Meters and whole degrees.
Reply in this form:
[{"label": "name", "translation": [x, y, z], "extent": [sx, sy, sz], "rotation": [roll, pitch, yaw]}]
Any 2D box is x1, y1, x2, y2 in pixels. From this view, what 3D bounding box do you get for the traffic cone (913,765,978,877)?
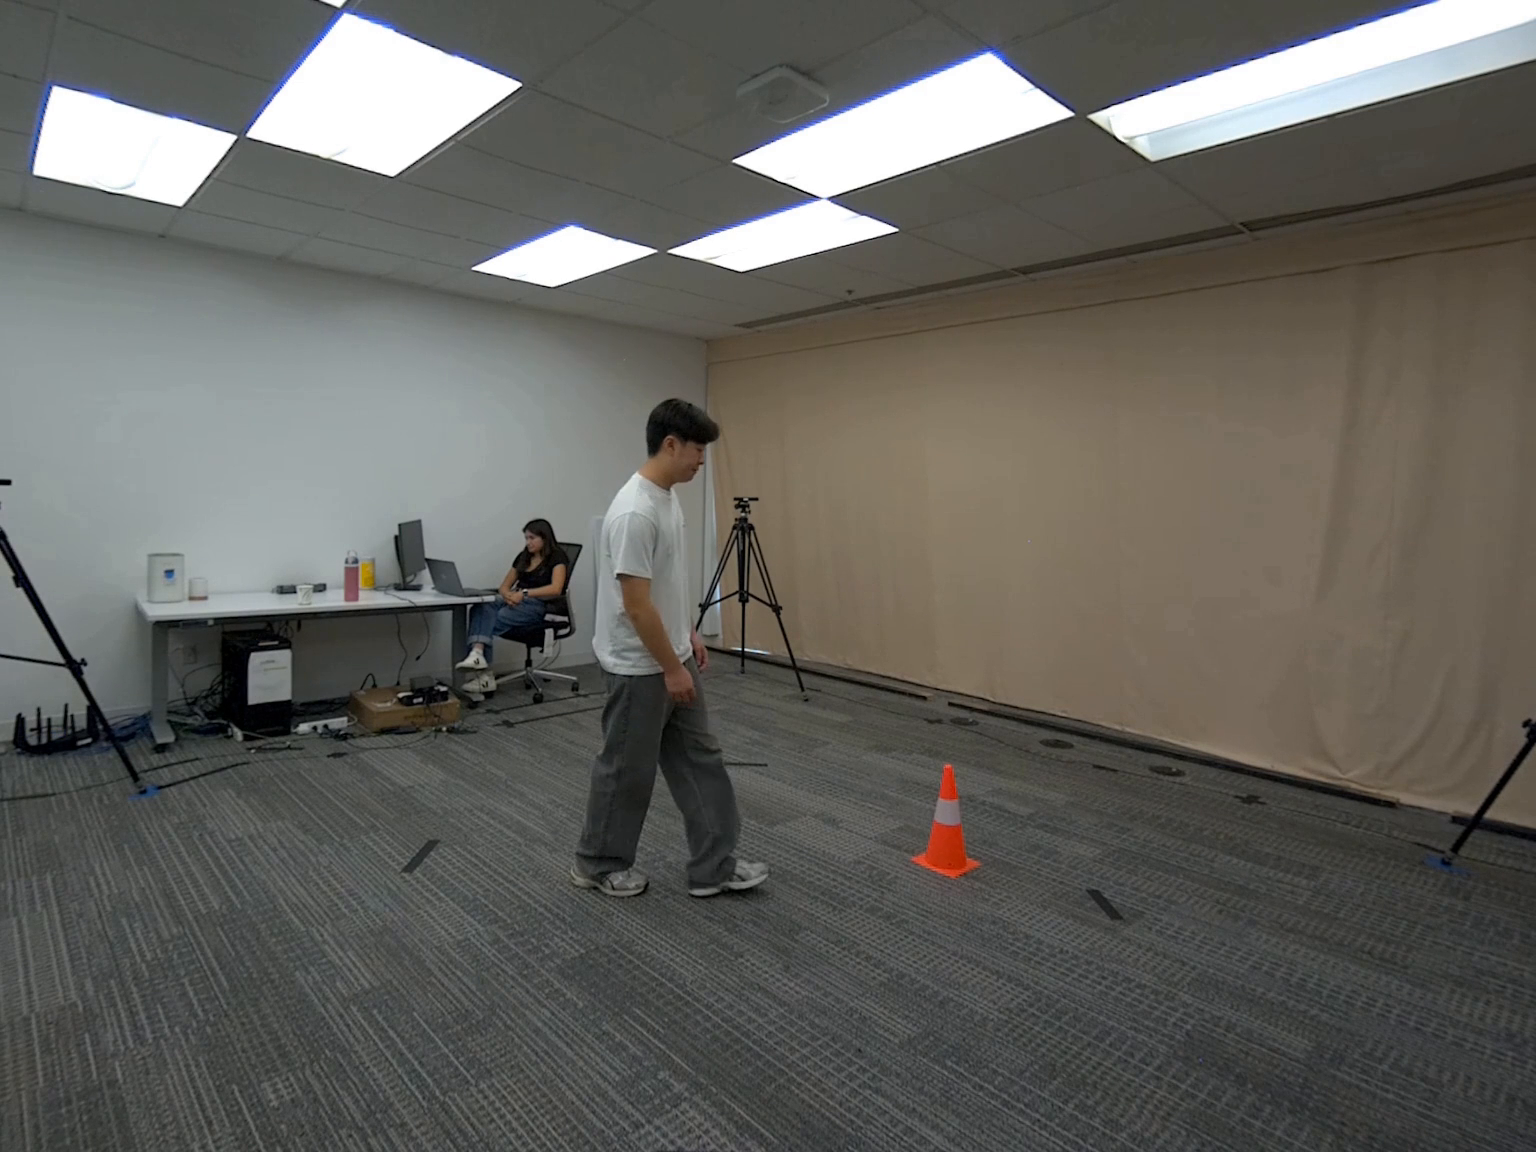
[{"label": "traffic cone", "translation": [0.694, 0.932, 3.263], "extent": [0.200, 0.382, 0.209], "rotation": [-1, 5, -41]}]
